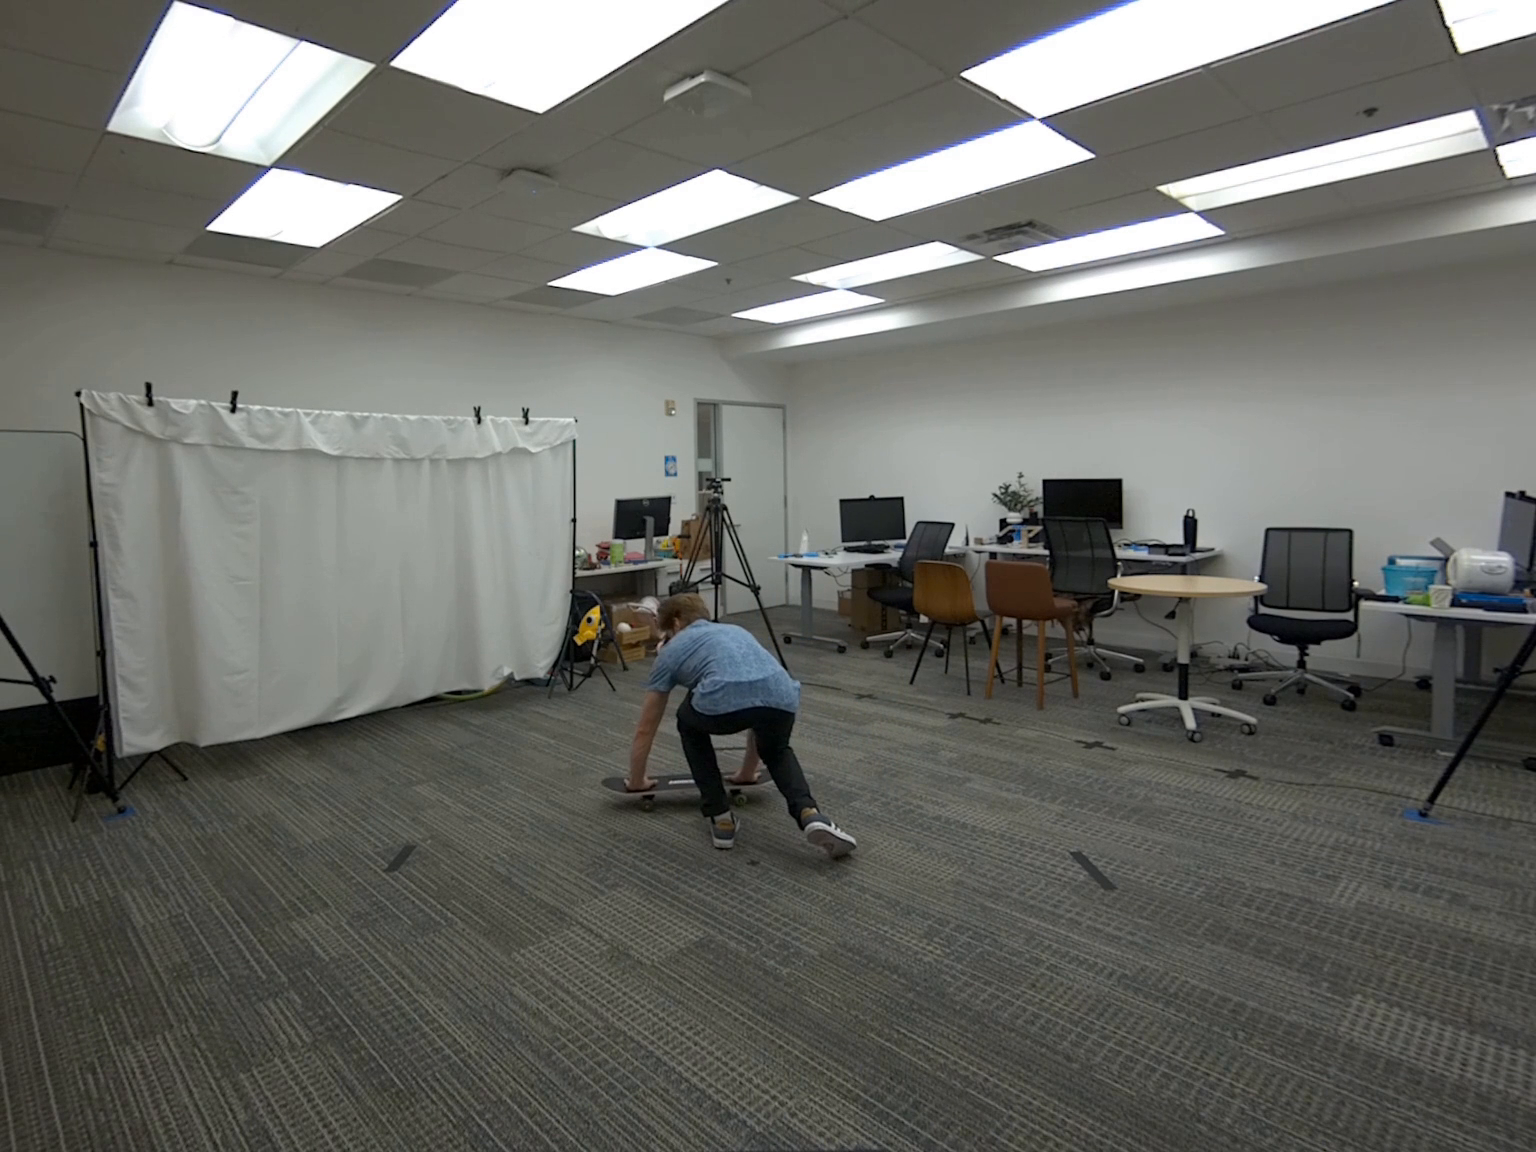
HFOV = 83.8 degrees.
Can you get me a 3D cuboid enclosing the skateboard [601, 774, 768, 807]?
[{"bbox_3d":[-0.320,0.922,3.705,0.781,0.110,0.195,-2,4,-5],"label":"skateboard"}]
